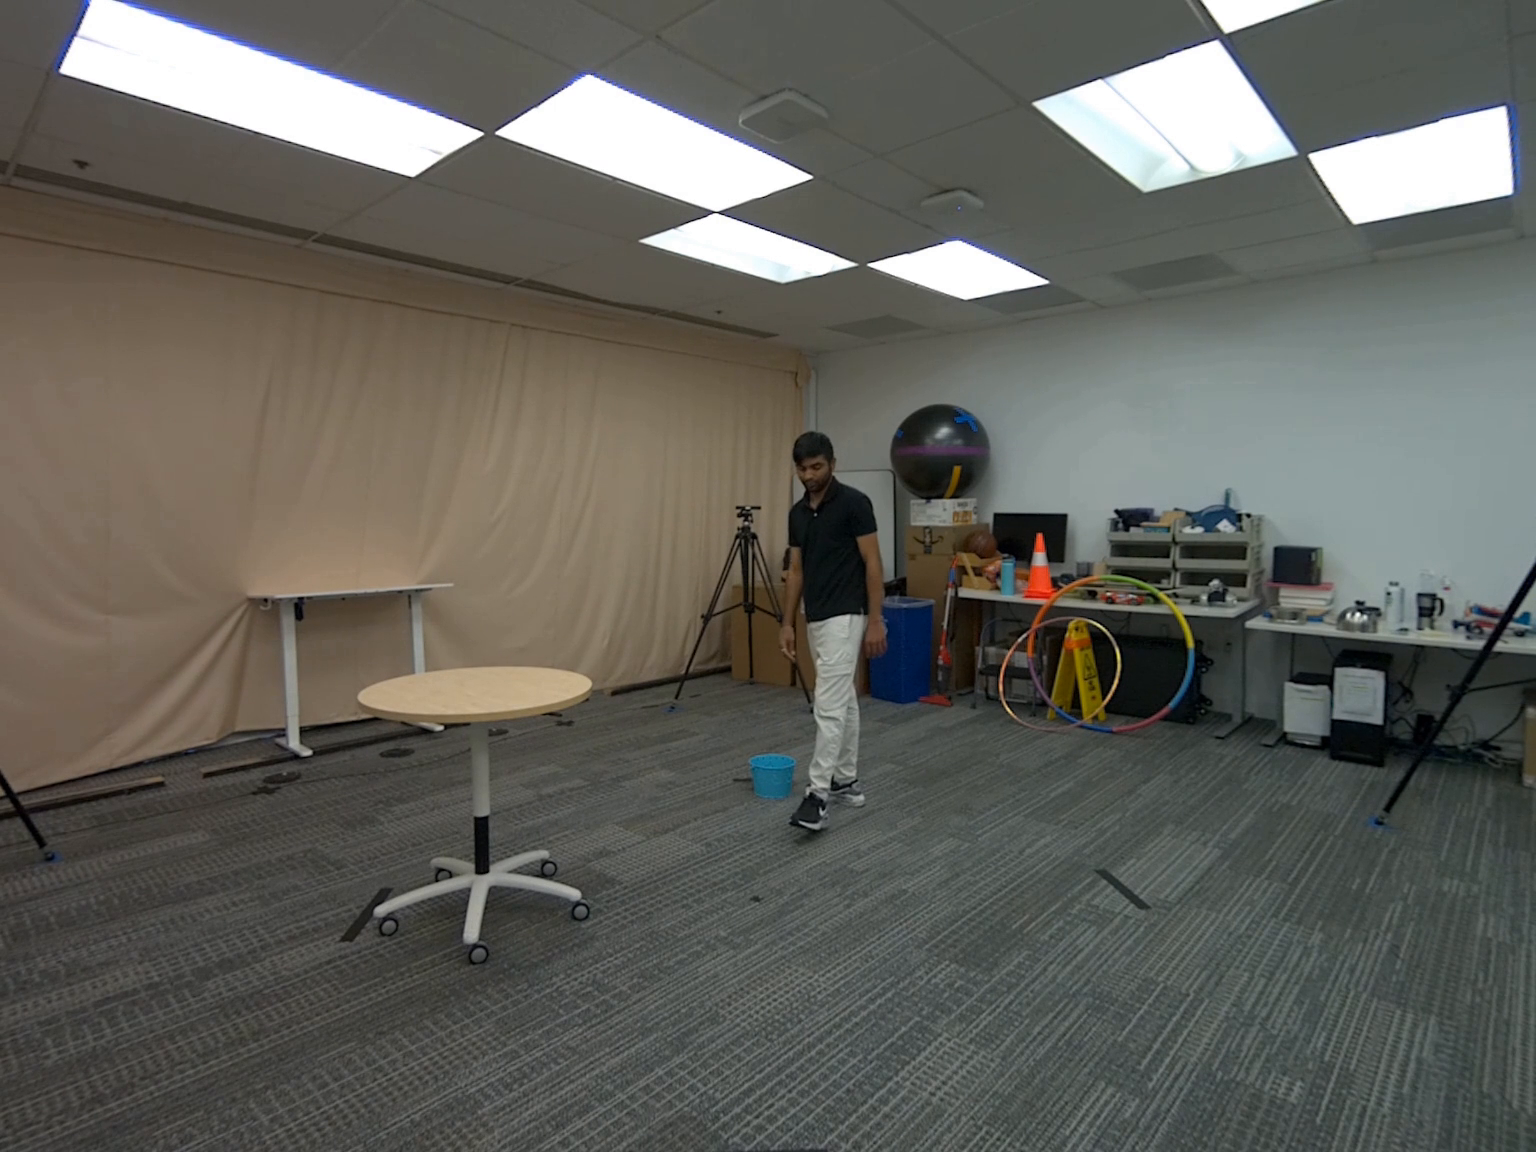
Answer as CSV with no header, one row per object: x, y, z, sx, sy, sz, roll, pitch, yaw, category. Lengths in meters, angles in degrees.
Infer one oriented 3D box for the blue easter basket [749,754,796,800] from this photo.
0.023,0.975,4.115,0.243,0.155,0.244,-1,4,-2,blue easter basket
